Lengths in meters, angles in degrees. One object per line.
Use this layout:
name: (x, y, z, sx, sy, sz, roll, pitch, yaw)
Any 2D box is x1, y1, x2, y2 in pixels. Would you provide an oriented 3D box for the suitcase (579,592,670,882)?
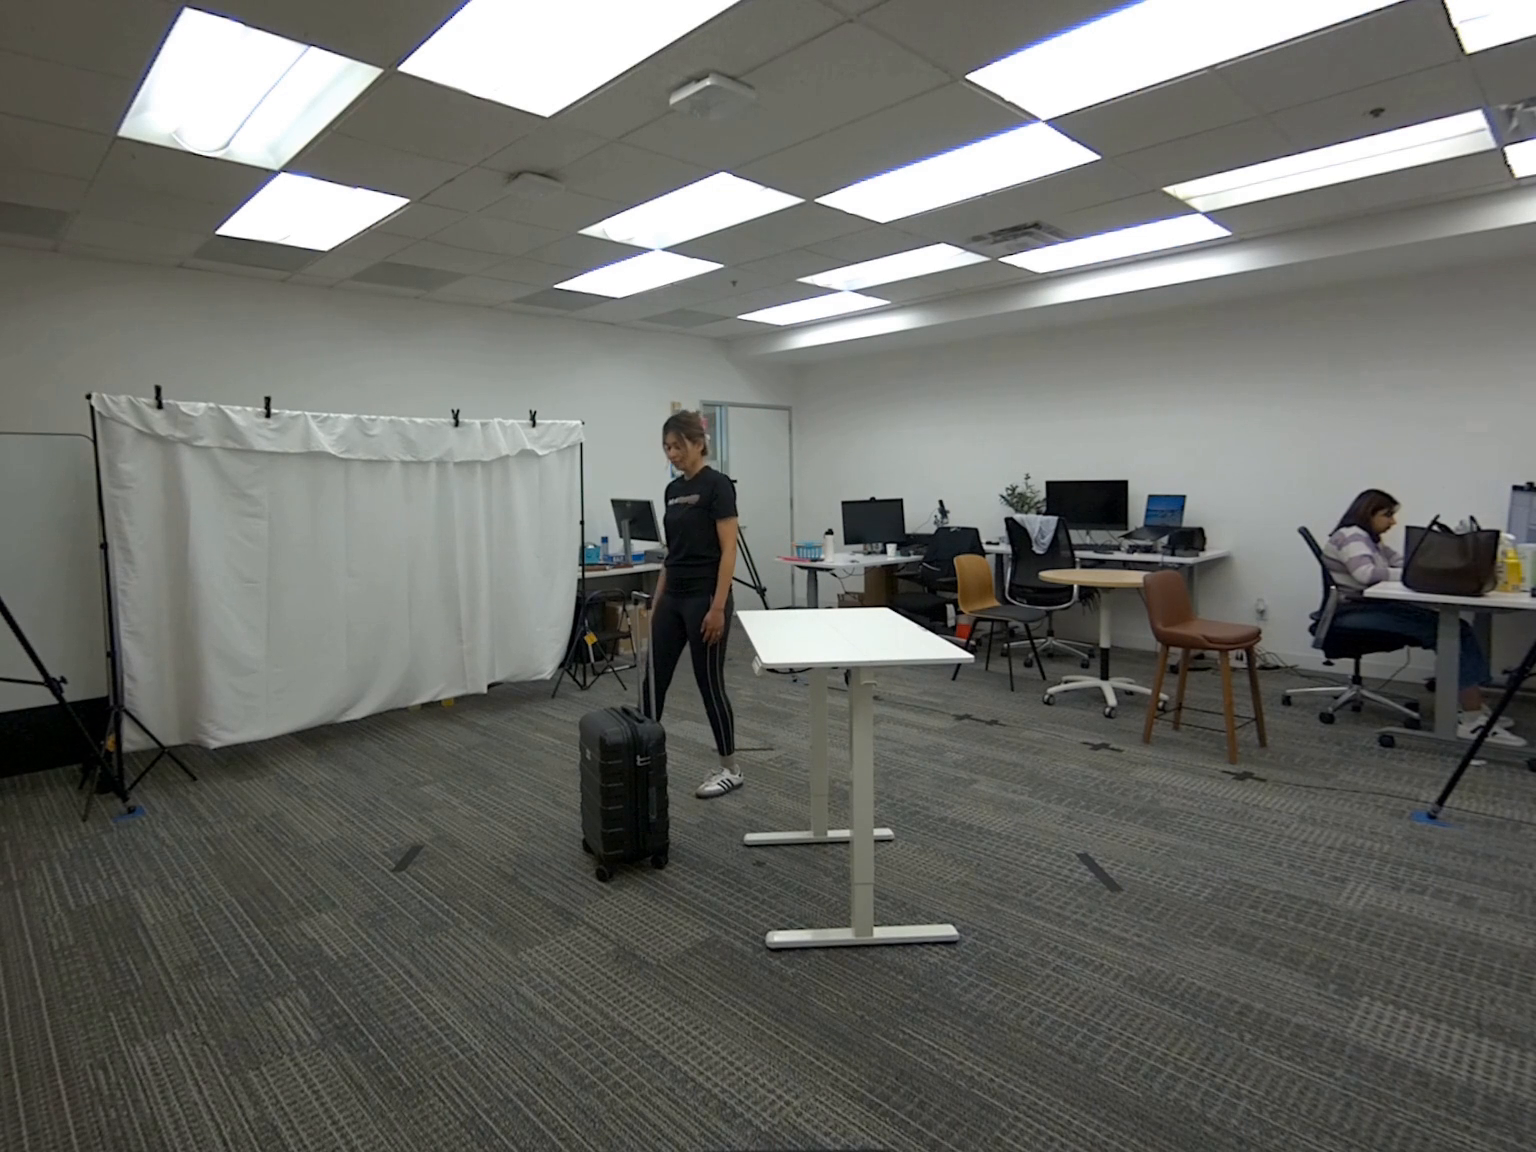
suitcase: (-0.546, 0.575, 3.140, 0.252, 0.975, 0.393, -4, 5, -22)
